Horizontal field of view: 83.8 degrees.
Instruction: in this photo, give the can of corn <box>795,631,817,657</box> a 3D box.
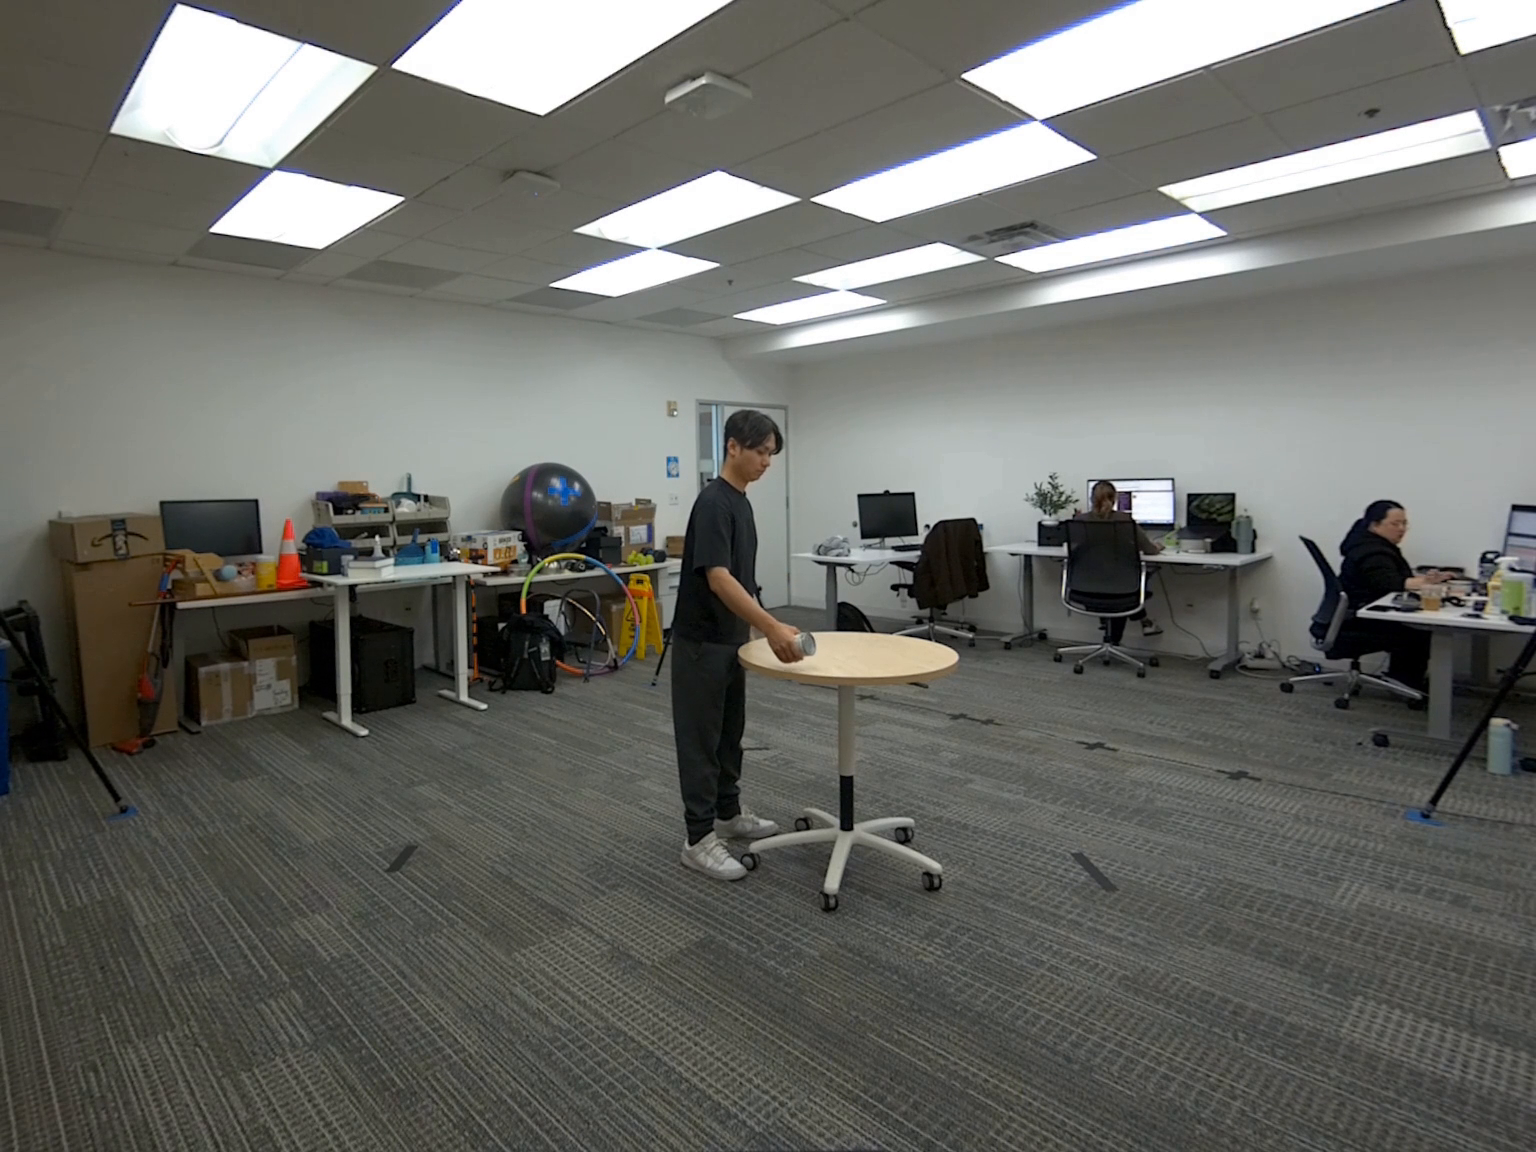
[{"bbox_3d":[0.097,0.225,2.744,0.113,0.074,0.072,-13,-2,31],"label":"can of corn"}]
